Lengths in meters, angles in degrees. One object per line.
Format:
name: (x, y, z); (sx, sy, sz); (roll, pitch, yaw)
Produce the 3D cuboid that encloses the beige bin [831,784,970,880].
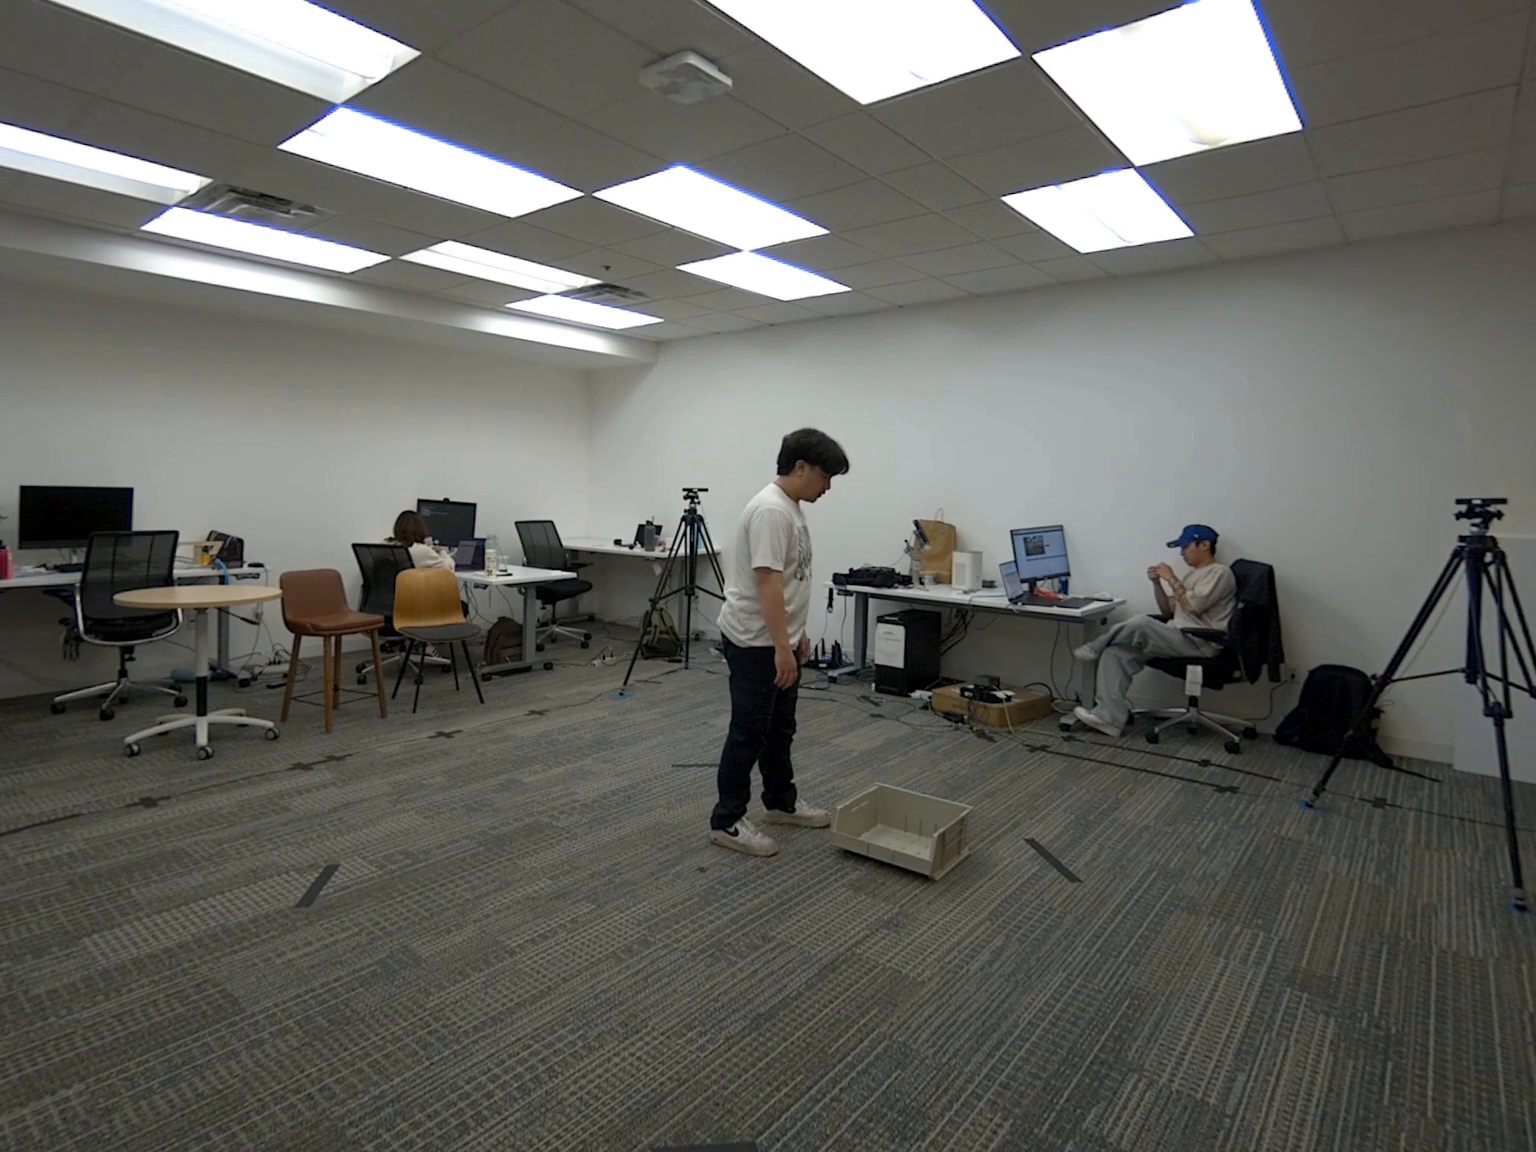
beige bin: (0.512, 0.982, 3.292); (0.436, 0.188, 0.366); (4, 5, 36)
